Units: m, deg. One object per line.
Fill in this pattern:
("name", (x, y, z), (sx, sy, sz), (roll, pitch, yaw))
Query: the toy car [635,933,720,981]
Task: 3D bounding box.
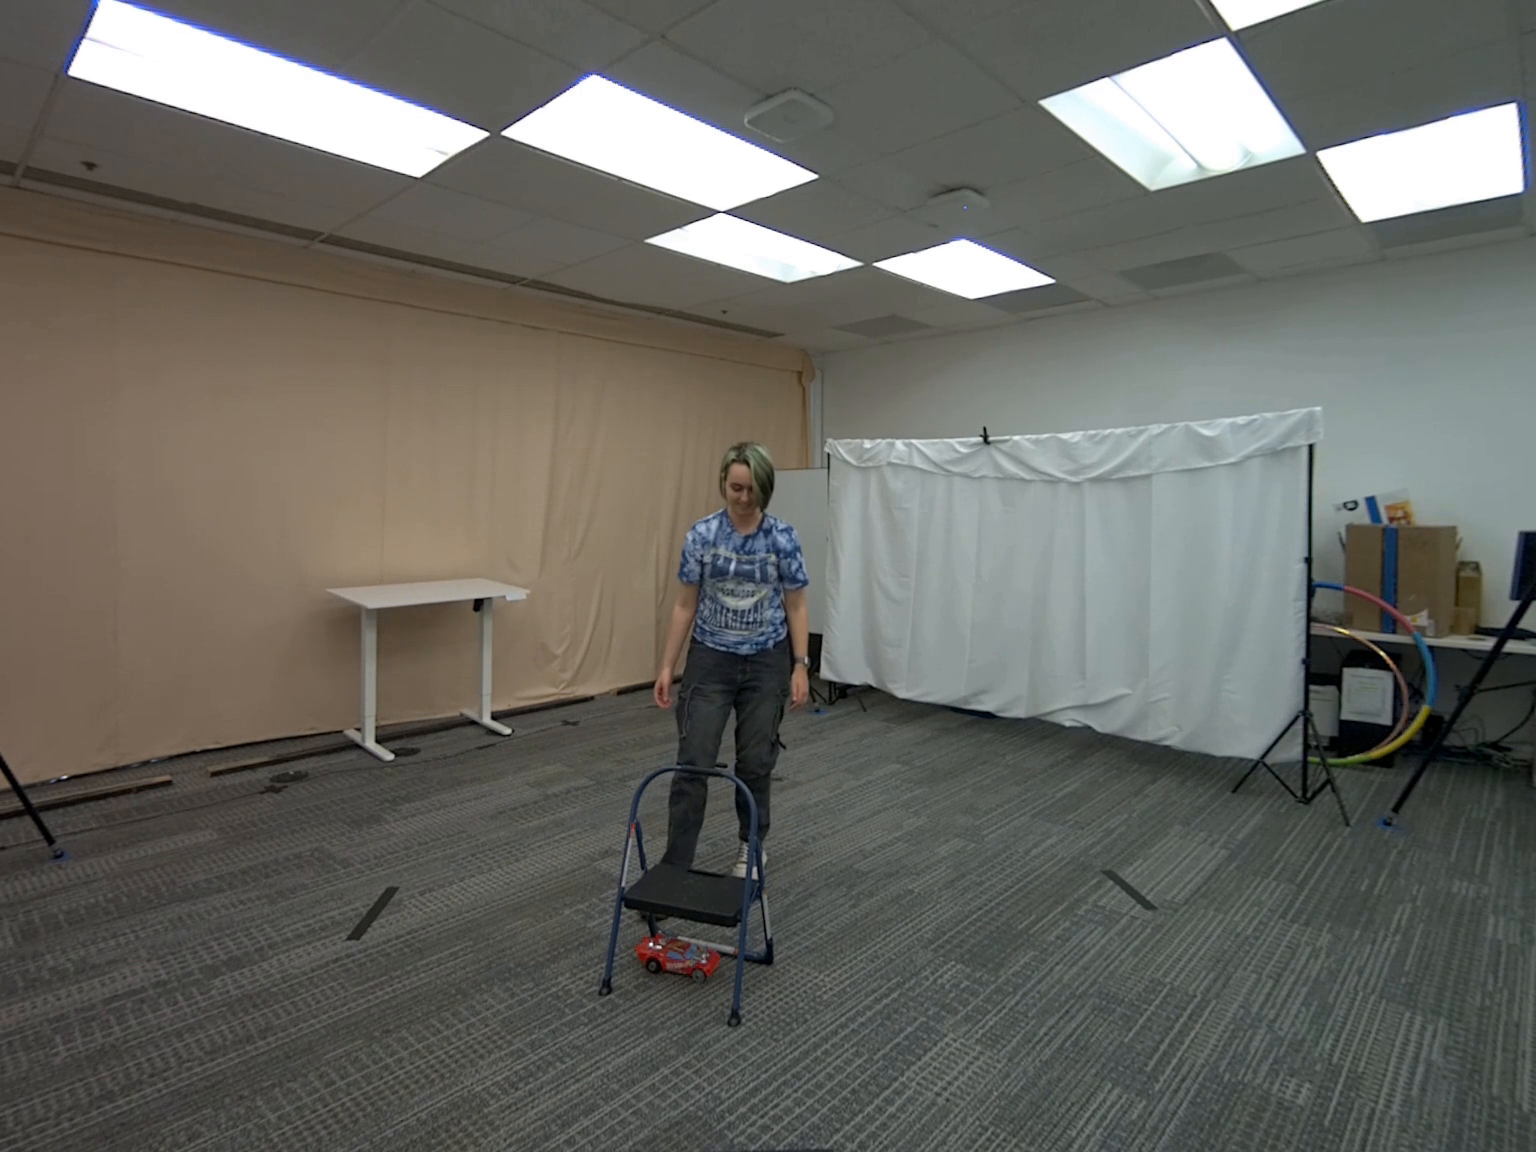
("toy car", (-0.272, 1.152, 2.536), (0.261, 0.083, 0.128), (13, 11, 20))
